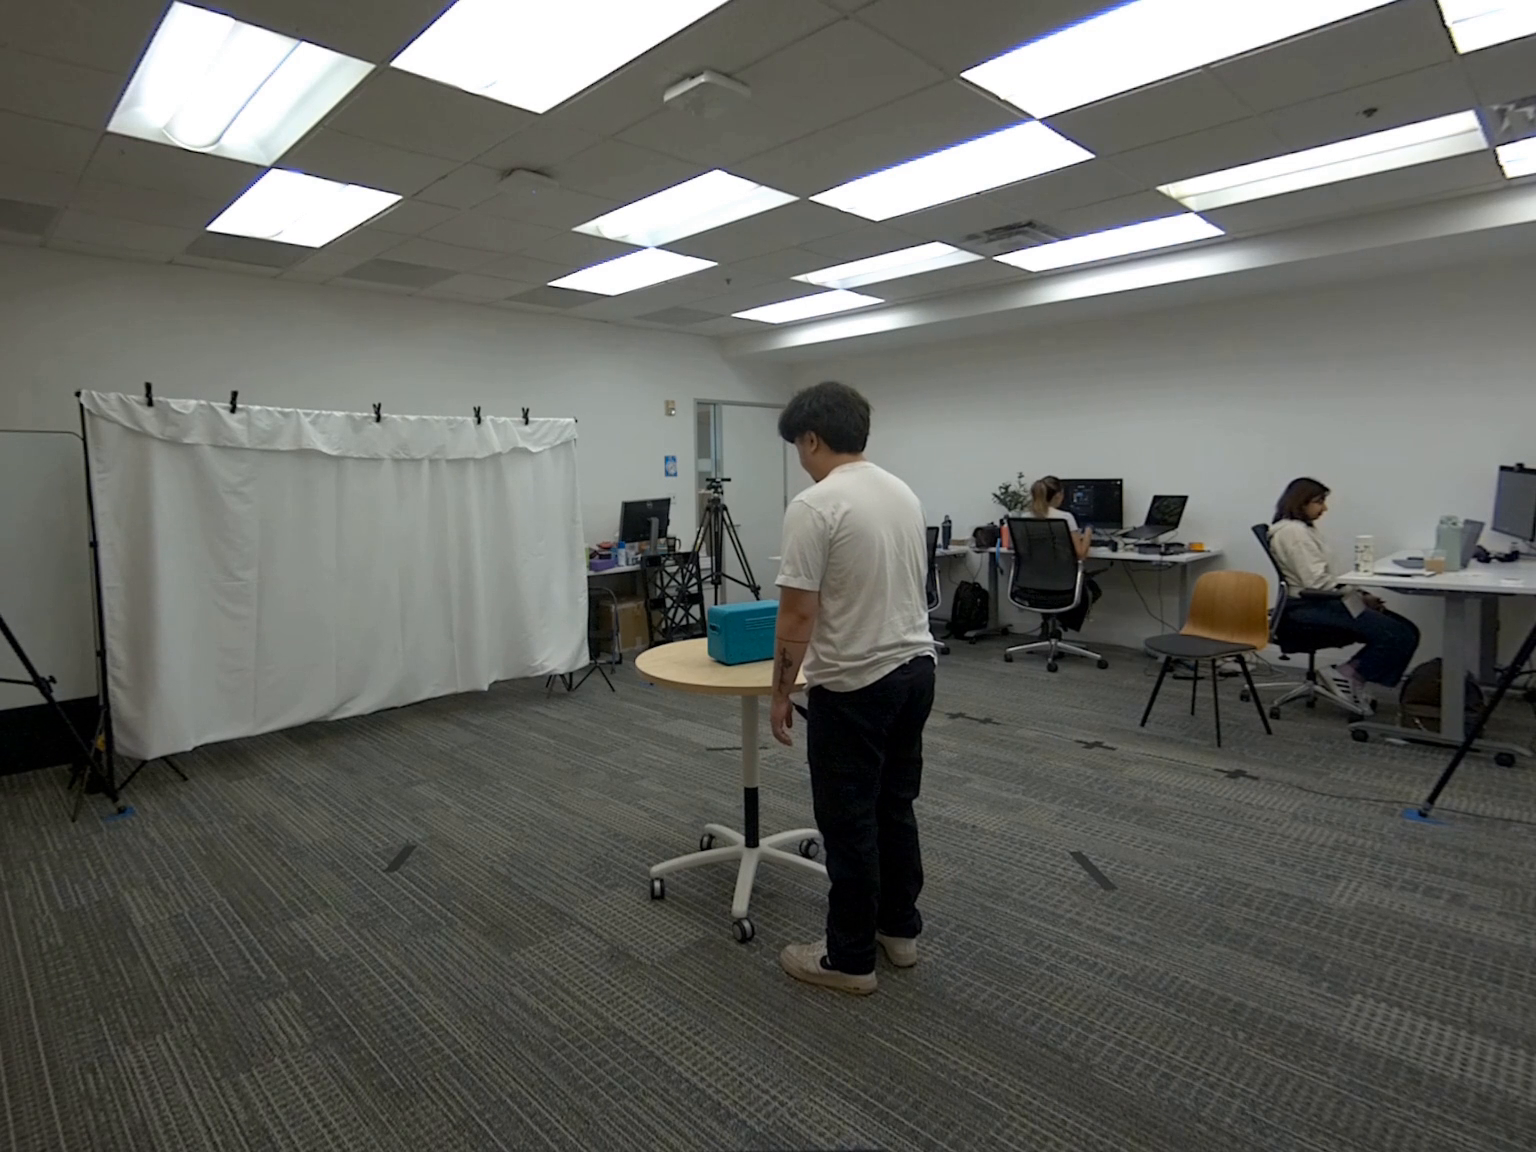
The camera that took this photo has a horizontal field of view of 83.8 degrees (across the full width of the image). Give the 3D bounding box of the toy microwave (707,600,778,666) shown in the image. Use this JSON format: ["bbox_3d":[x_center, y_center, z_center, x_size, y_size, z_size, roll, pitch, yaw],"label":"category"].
[{"bbox_3d":[-0.057,0.184,2.871,0.279,0.183,0.156,-5,6,-31],"label":"toy microwave"}]
